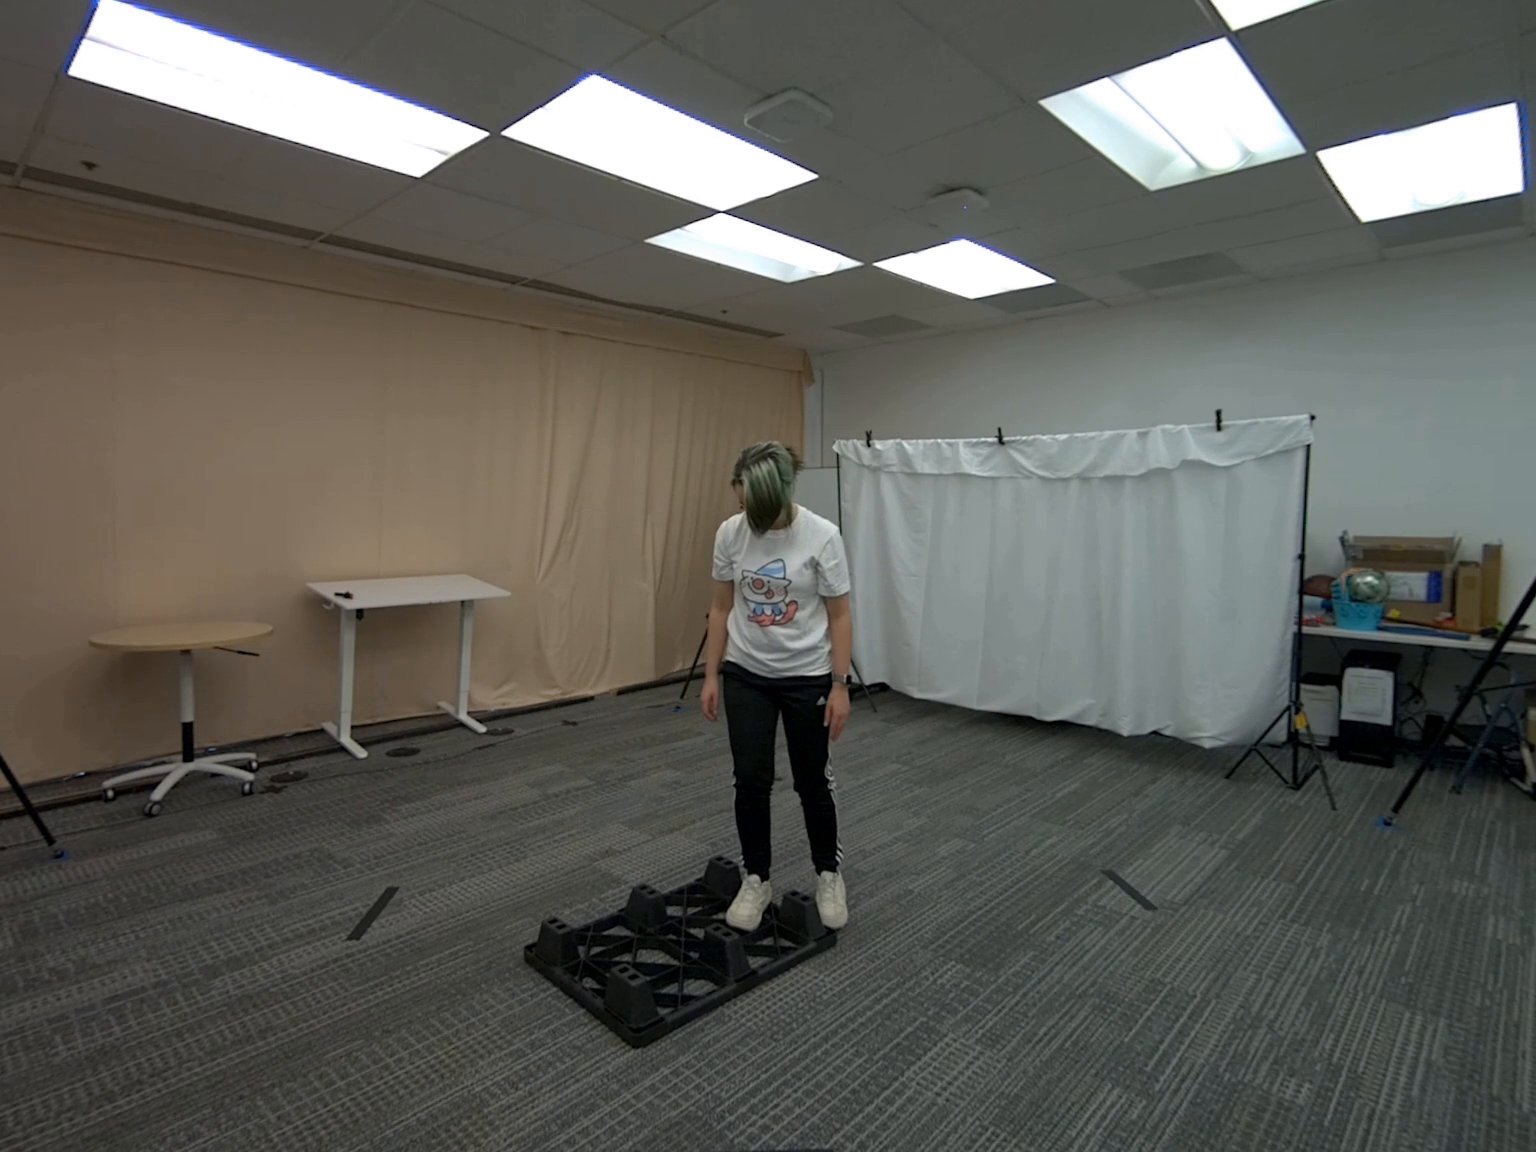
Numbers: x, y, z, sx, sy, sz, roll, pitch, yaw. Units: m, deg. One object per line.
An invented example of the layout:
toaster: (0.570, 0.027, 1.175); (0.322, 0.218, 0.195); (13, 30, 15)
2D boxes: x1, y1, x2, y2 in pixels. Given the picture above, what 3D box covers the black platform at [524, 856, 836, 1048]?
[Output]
black platform: (-0.266, 1.112, 2.636); (0.781, 0.143, 0.625); (-4, 7, -44)
